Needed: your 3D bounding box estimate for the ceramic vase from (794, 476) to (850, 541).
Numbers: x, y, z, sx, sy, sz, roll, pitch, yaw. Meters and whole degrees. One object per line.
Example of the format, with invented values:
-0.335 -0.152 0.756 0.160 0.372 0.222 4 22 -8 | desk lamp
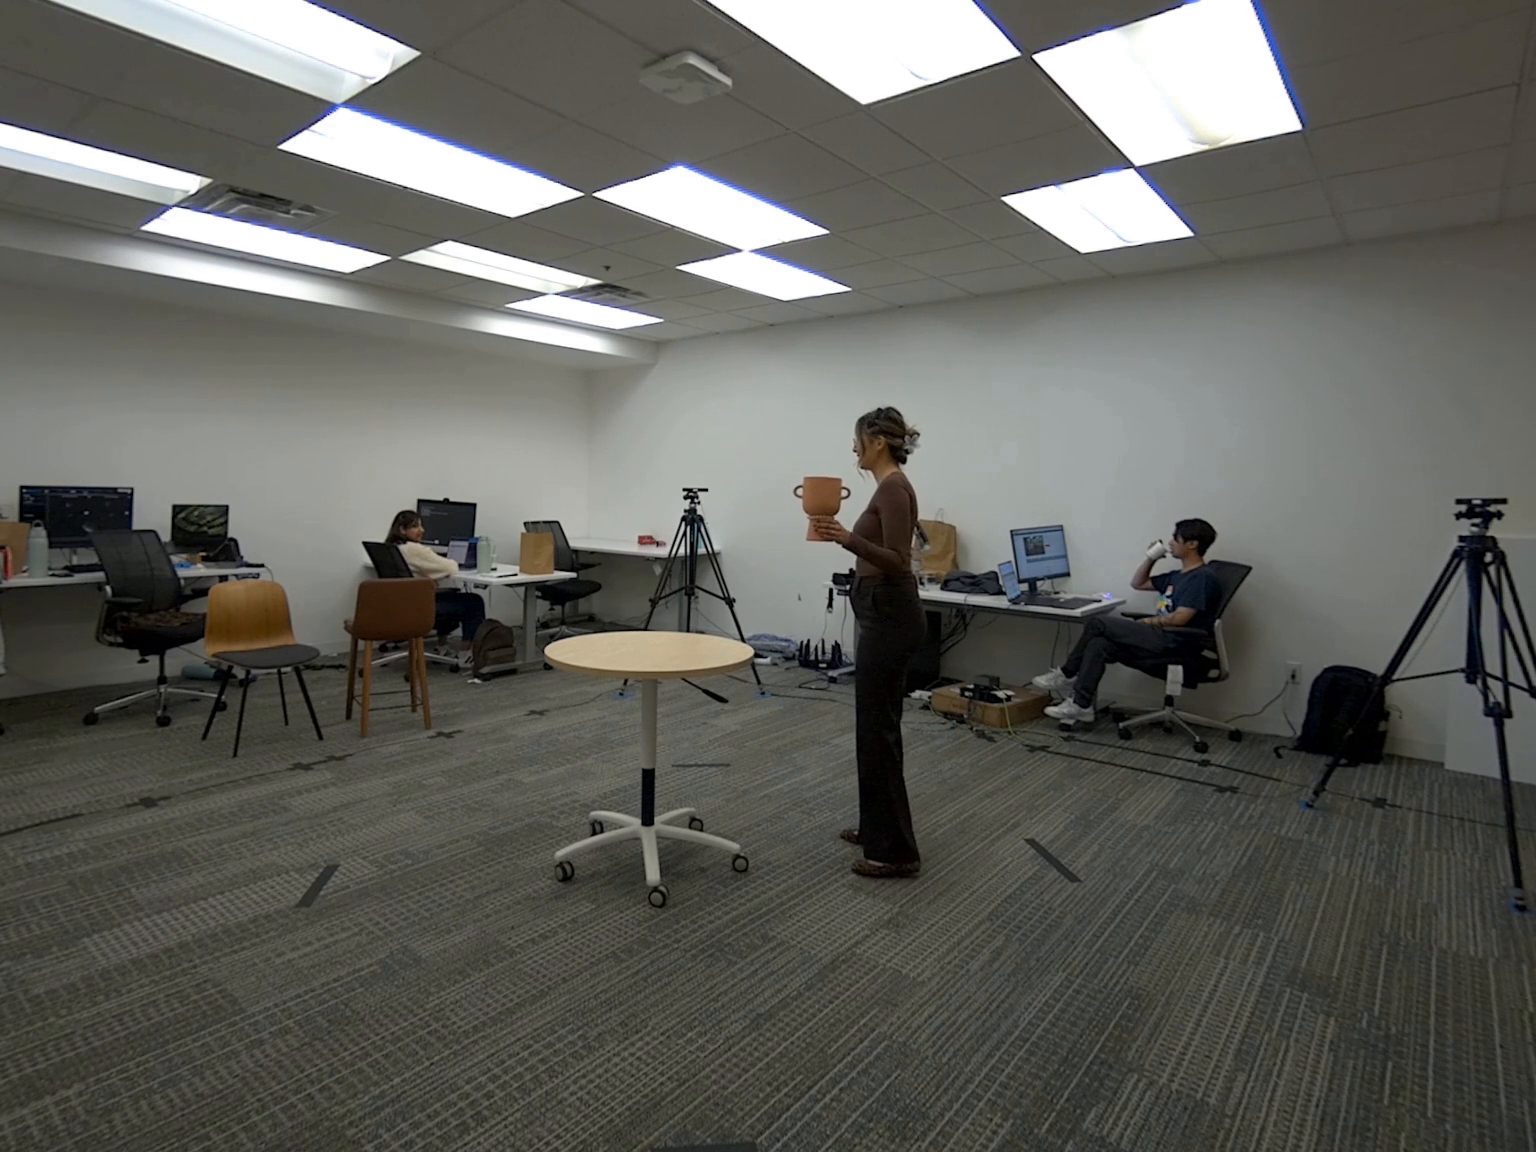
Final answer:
0.179 -0.235 2.958 0.130 0.220 0.164 1 1 -40 | ceramic vase
